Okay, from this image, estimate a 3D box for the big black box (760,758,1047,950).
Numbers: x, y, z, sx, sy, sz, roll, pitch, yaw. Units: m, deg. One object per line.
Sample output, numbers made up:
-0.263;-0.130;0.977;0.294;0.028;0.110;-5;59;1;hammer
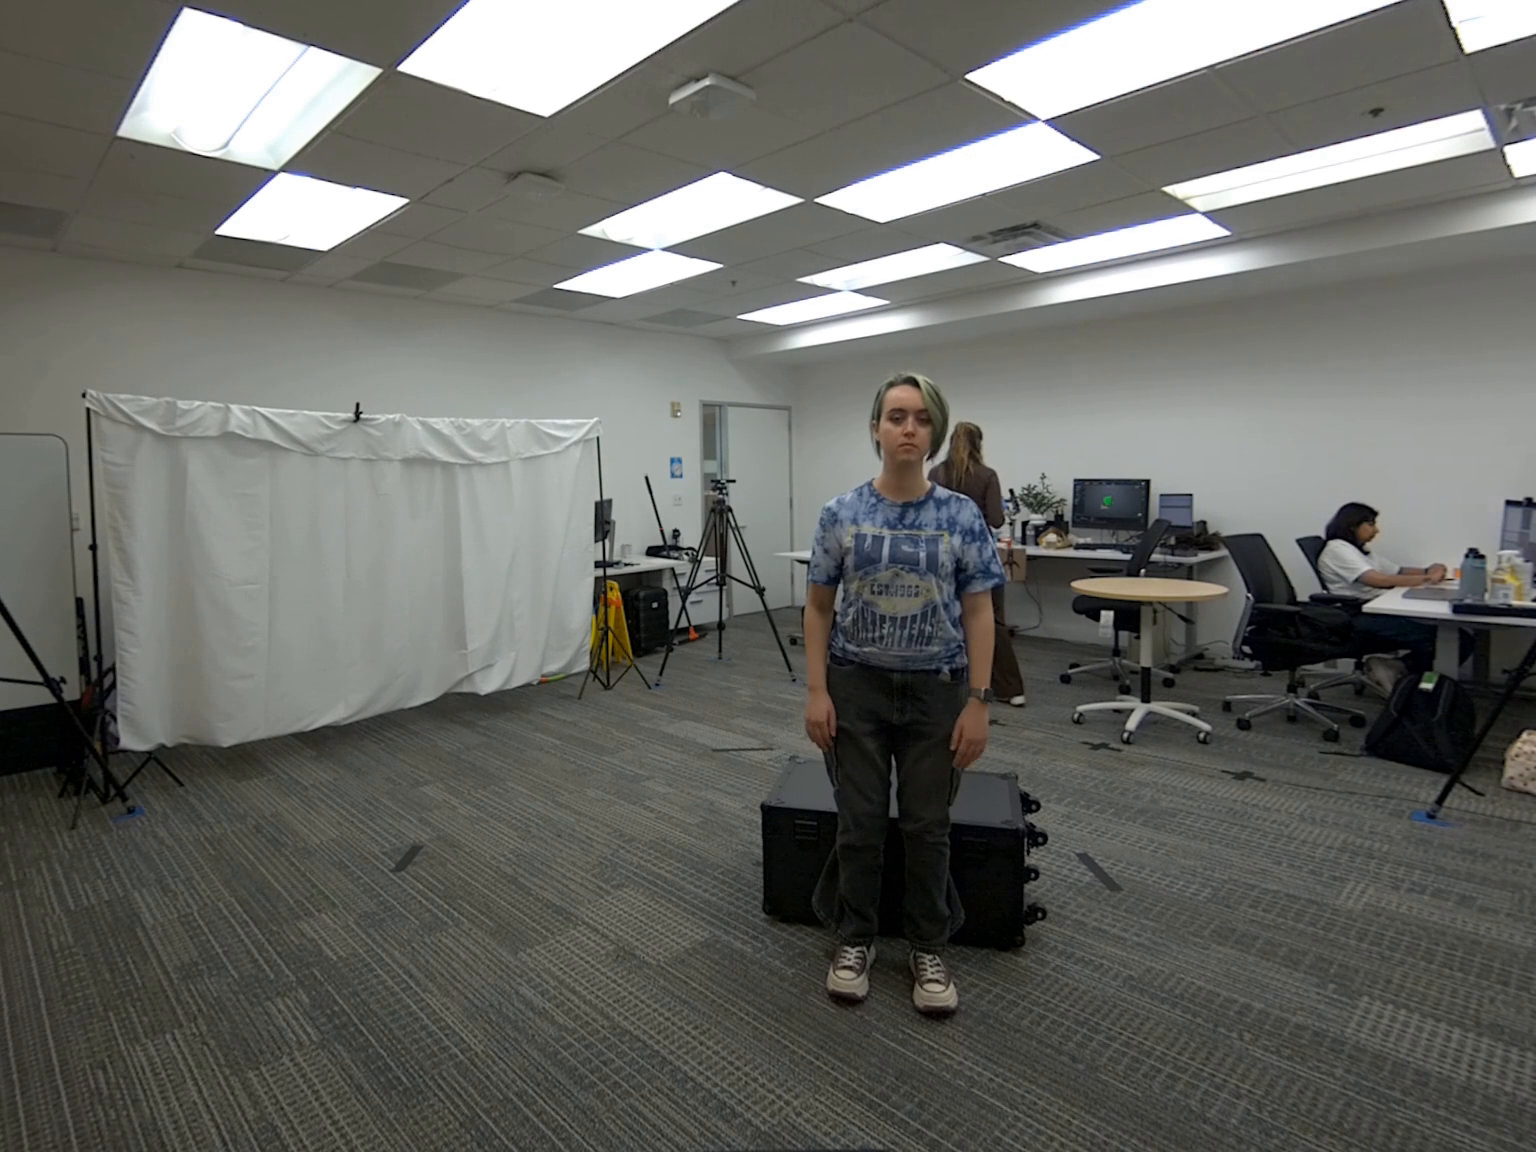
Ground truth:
0.445;0.878;2.799;0.874;0.395;0.516;0;5;15;big black box
